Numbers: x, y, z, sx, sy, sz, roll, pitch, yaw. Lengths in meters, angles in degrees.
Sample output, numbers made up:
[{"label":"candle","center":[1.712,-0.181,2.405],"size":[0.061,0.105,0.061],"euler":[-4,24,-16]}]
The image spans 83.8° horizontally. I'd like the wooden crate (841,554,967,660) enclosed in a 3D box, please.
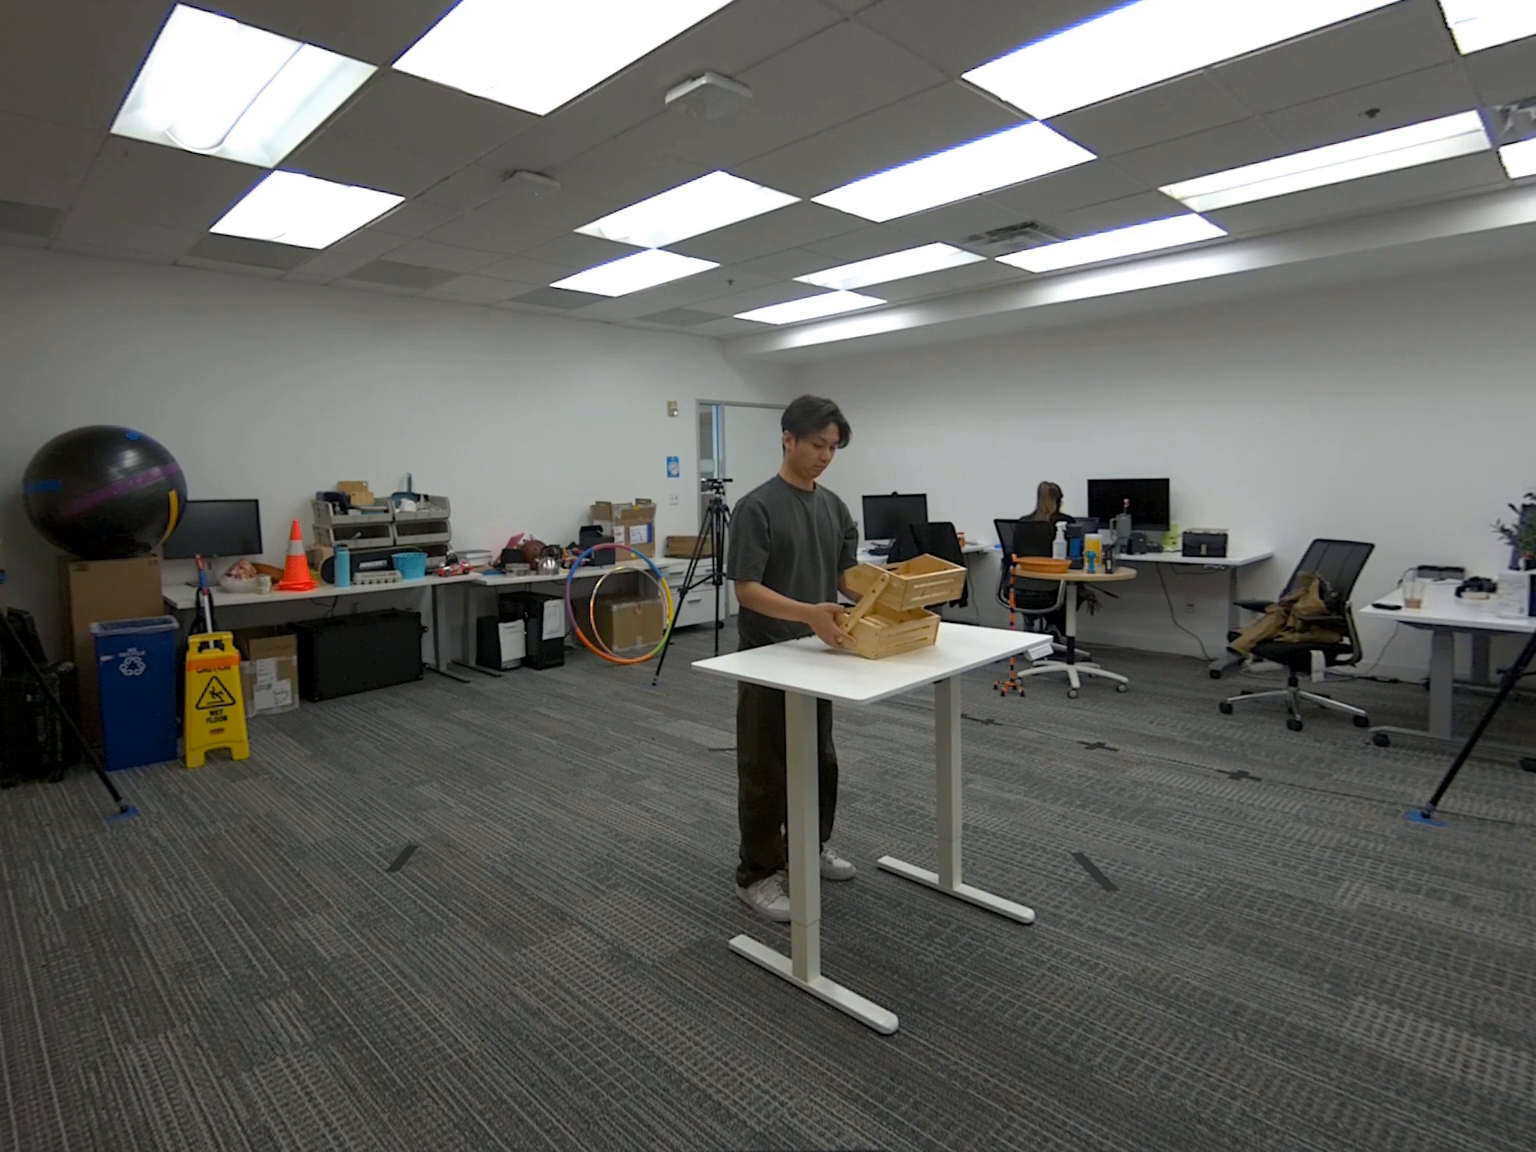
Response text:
[{"label":"wooden crate","center":[0.362,0.069,2.536],"size":[0.316,0.270,0.313],"euler":[-6,21,-43]}]
